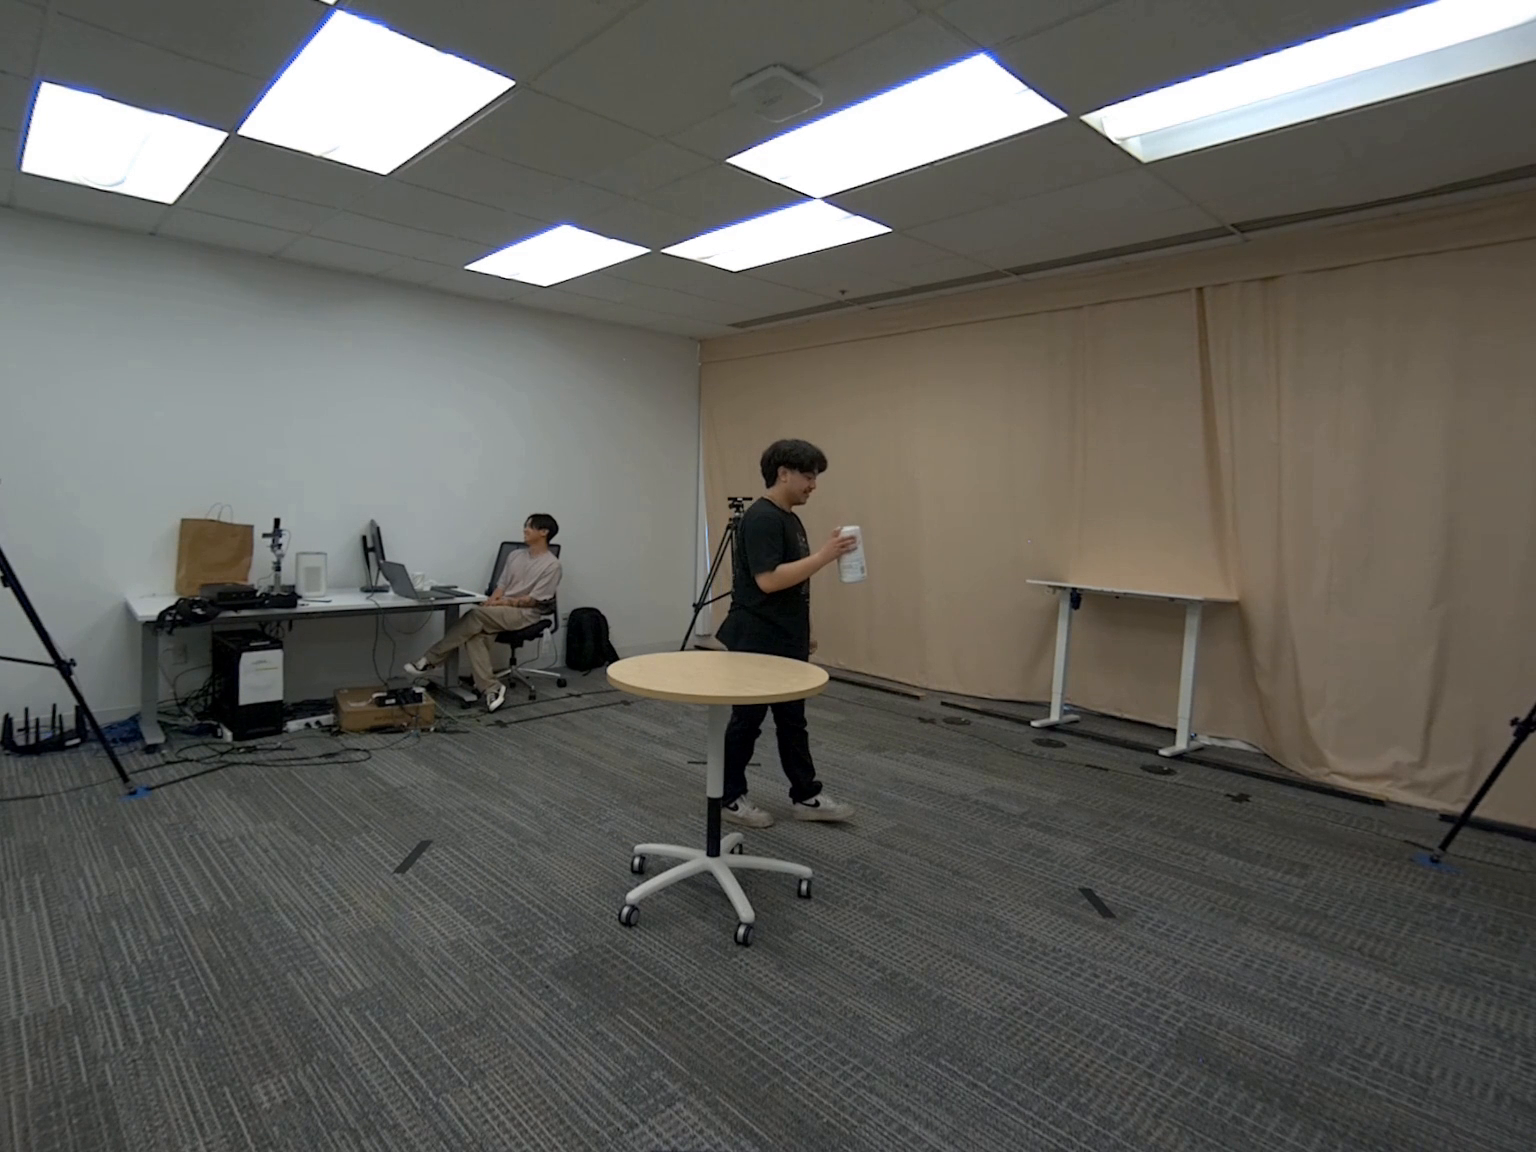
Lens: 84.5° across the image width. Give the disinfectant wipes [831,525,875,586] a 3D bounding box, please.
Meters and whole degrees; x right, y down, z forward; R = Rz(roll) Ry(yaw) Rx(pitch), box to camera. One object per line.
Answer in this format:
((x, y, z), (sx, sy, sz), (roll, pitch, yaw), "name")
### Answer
((0.334, -0.086, 3.358), (0.118, 0.217, 0.118), (-10, 3, -1), "disinfectant wipes")
